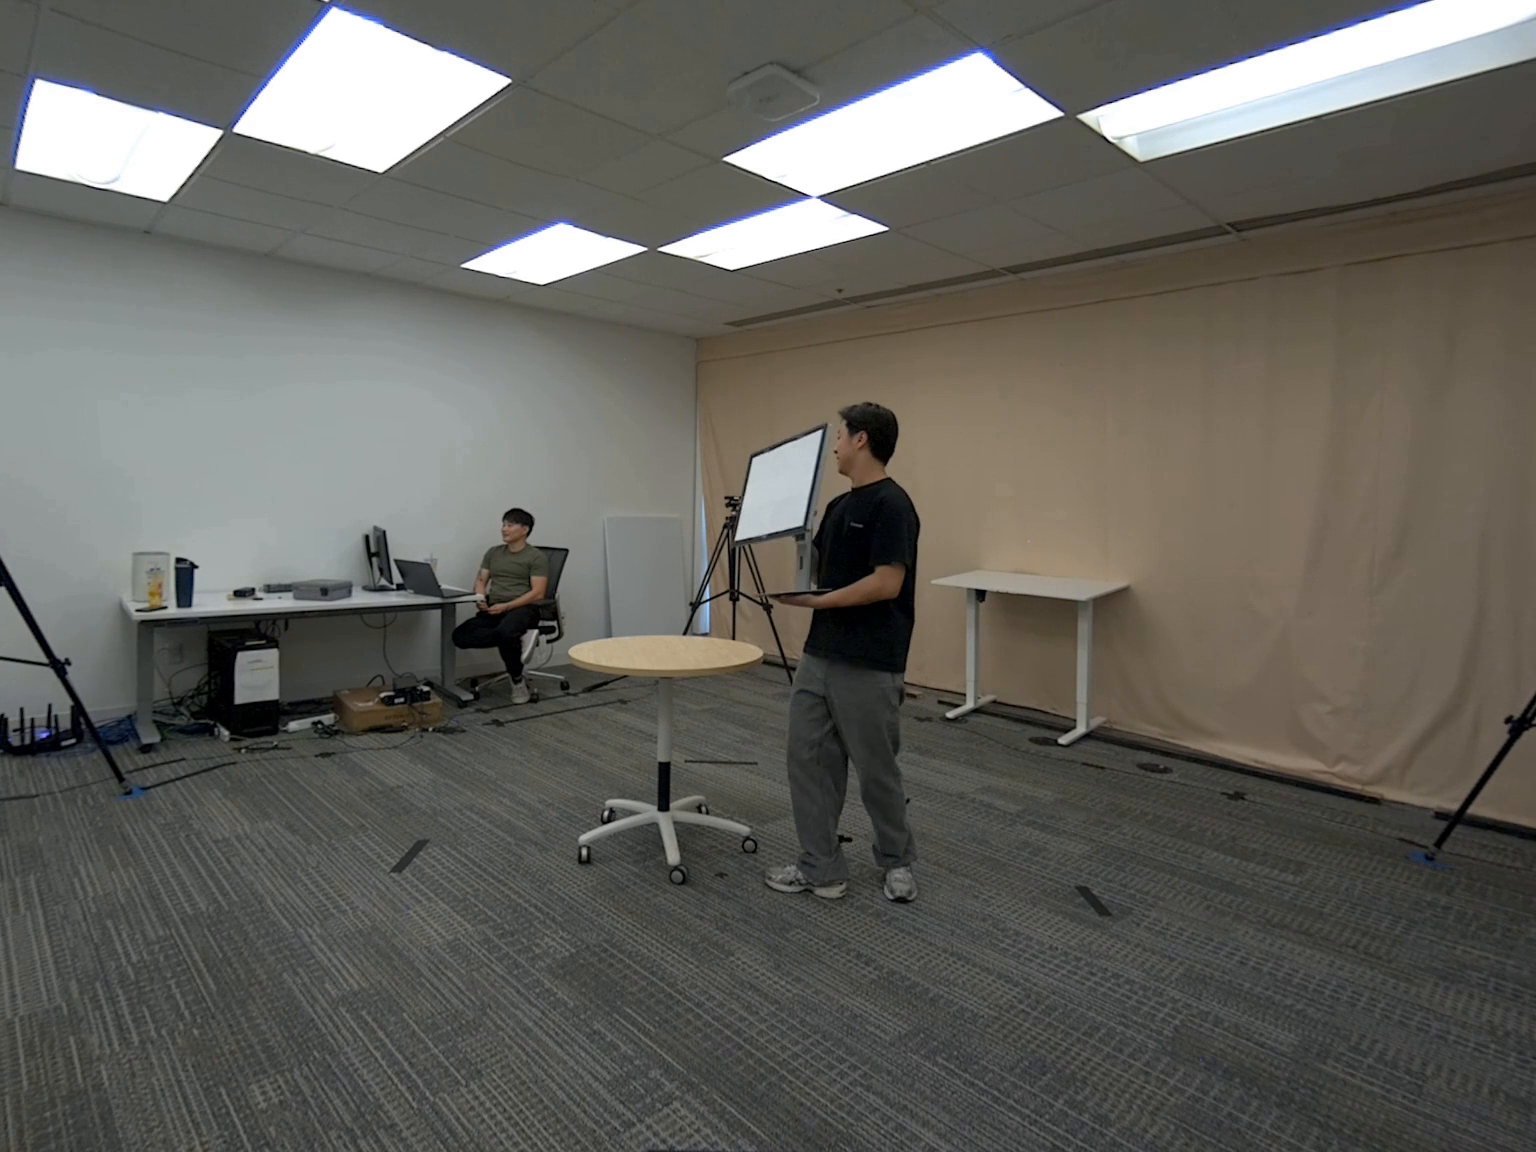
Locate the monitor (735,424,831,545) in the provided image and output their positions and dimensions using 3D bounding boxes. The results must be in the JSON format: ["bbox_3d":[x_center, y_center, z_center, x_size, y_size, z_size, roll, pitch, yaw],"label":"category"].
[{"bbox_3d":[0.065,-0.194,2.906,0.218,0.568,0.569,-1,-5,-23],"label":"monitor"}]
